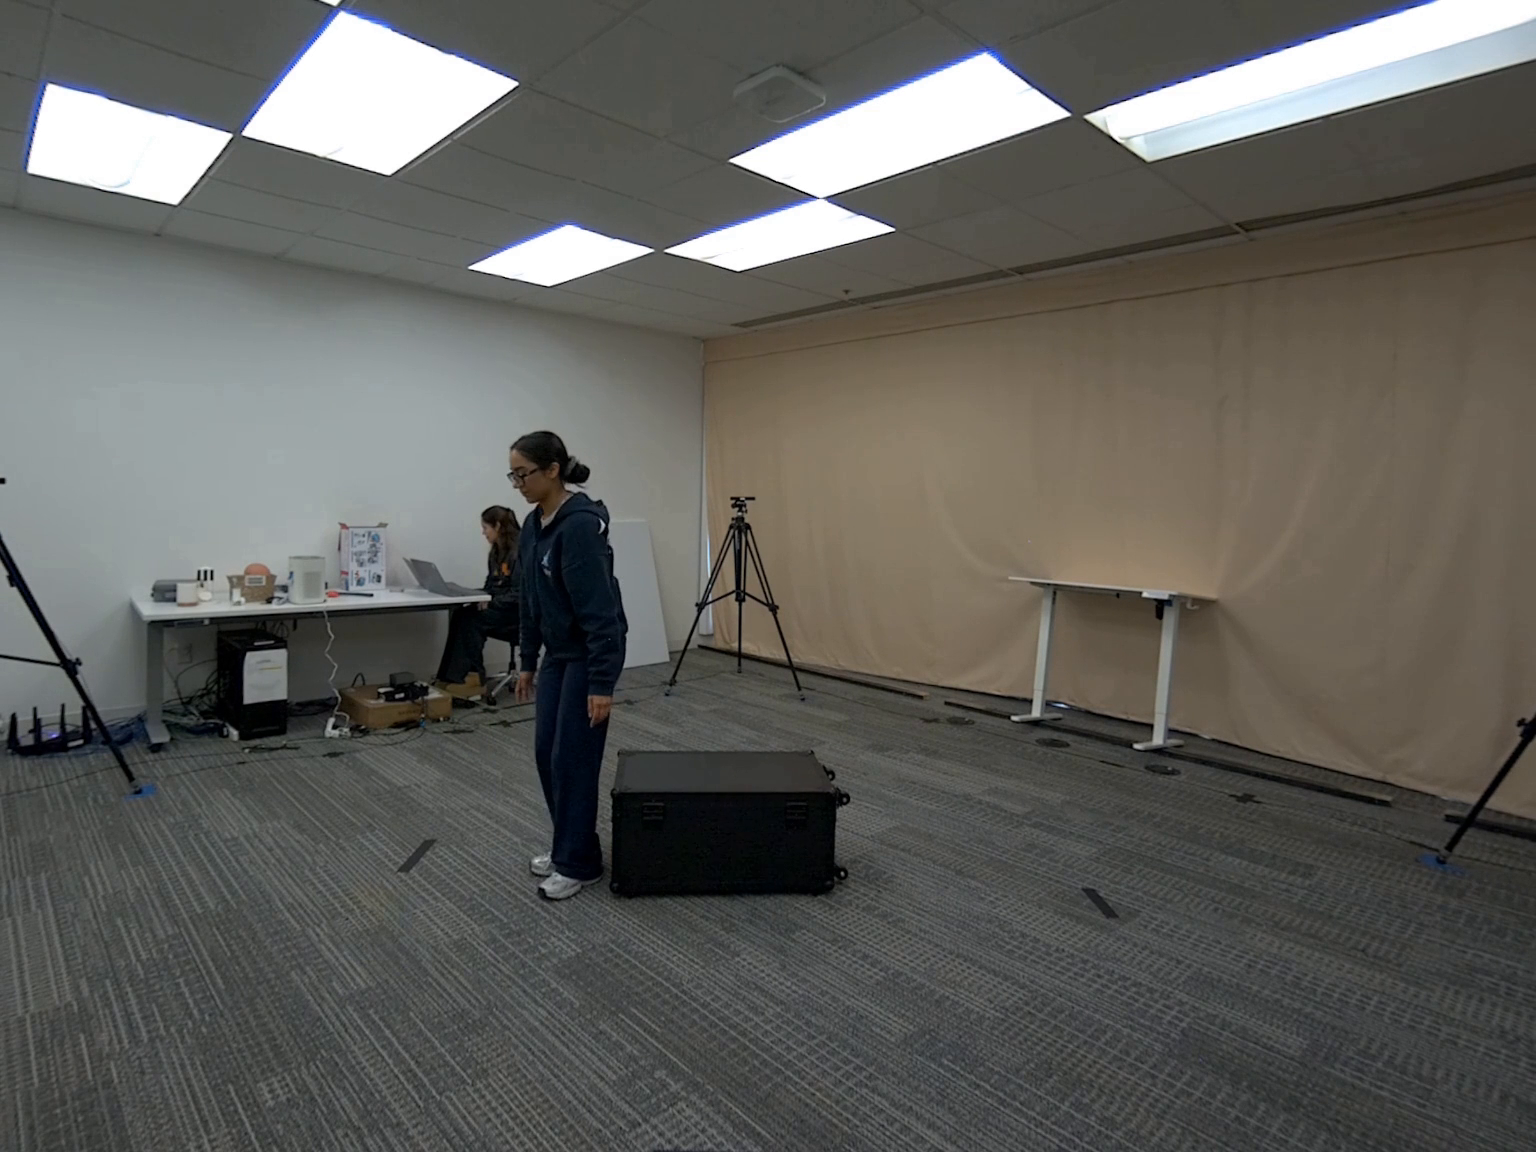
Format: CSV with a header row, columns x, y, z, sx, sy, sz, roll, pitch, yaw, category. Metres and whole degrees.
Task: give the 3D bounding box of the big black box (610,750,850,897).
x,y,z,sx,sy,sz,roll,pitch,yaw,category
-0.149,0.910,3.160,0.857,0.395,0.525,1,4,-7,big black box
